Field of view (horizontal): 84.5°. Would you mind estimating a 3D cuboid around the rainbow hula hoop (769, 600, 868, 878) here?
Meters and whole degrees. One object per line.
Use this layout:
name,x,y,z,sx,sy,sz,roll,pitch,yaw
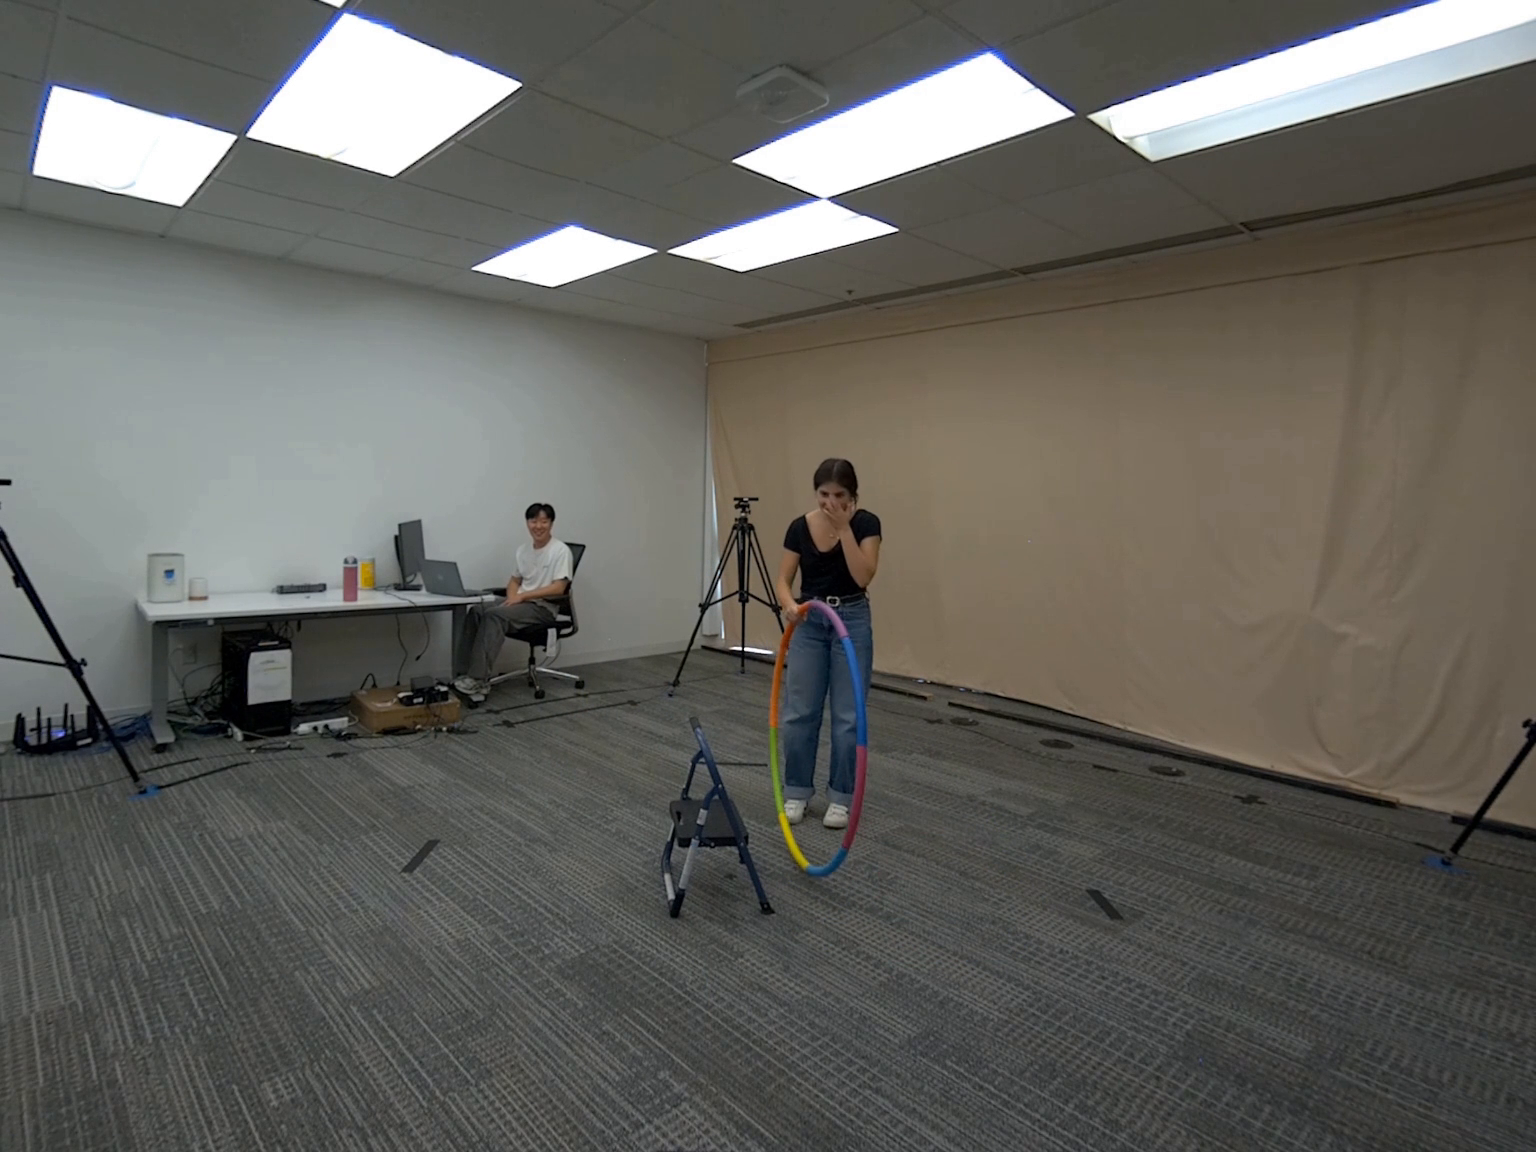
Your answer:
rainbow hula hoop,0.156,0.601,3.141,0.035,0.976,0.993,3,4,-17
